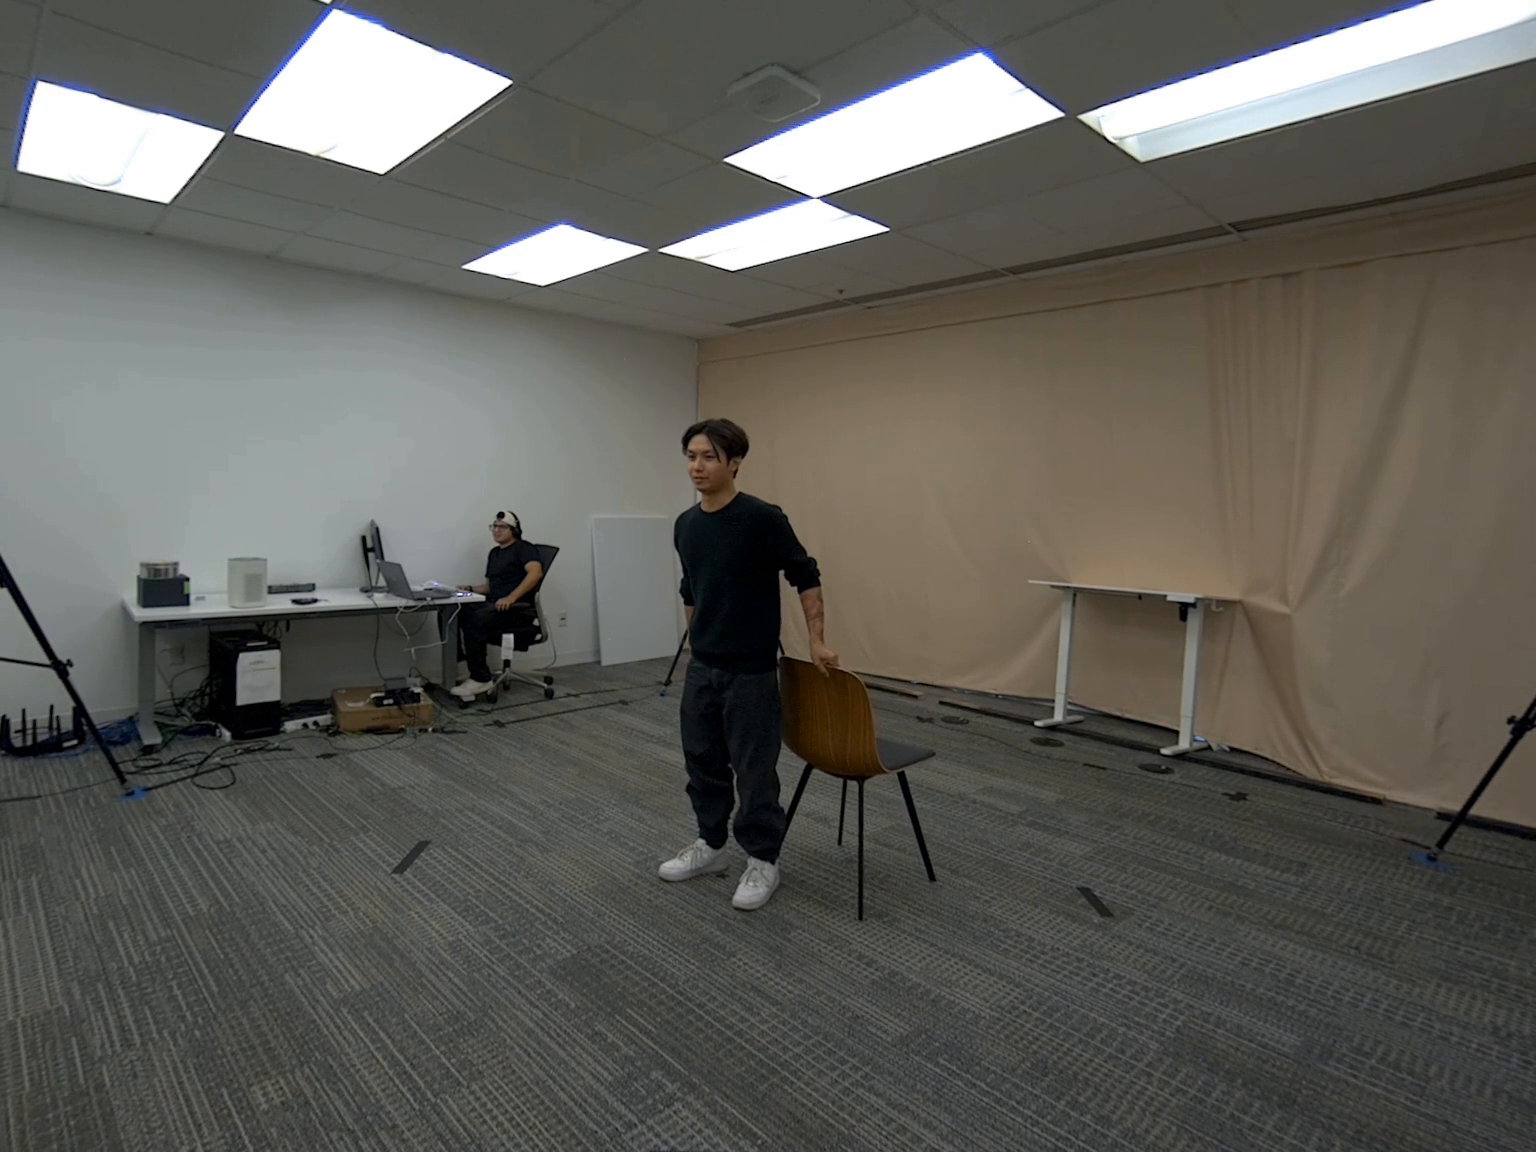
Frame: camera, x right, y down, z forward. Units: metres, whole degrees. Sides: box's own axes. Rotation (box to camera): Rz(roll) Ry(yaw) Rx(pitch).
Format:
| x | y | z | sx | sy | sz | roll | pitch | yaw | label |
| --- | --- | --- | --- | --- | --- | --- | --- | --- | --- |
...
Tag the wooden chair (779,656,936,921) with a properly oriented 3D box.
| x | y | z | sx | sy | sz | roll | pitch | yaw | label |
| --- | --- | --- | --- | --- | --- | --- | --- | --- | --- |
| 0.312 | 0.691 | 3.087 | 0.490 | 0.873 | 0.512 | 4 | 9 | 43 | wooden chair |
